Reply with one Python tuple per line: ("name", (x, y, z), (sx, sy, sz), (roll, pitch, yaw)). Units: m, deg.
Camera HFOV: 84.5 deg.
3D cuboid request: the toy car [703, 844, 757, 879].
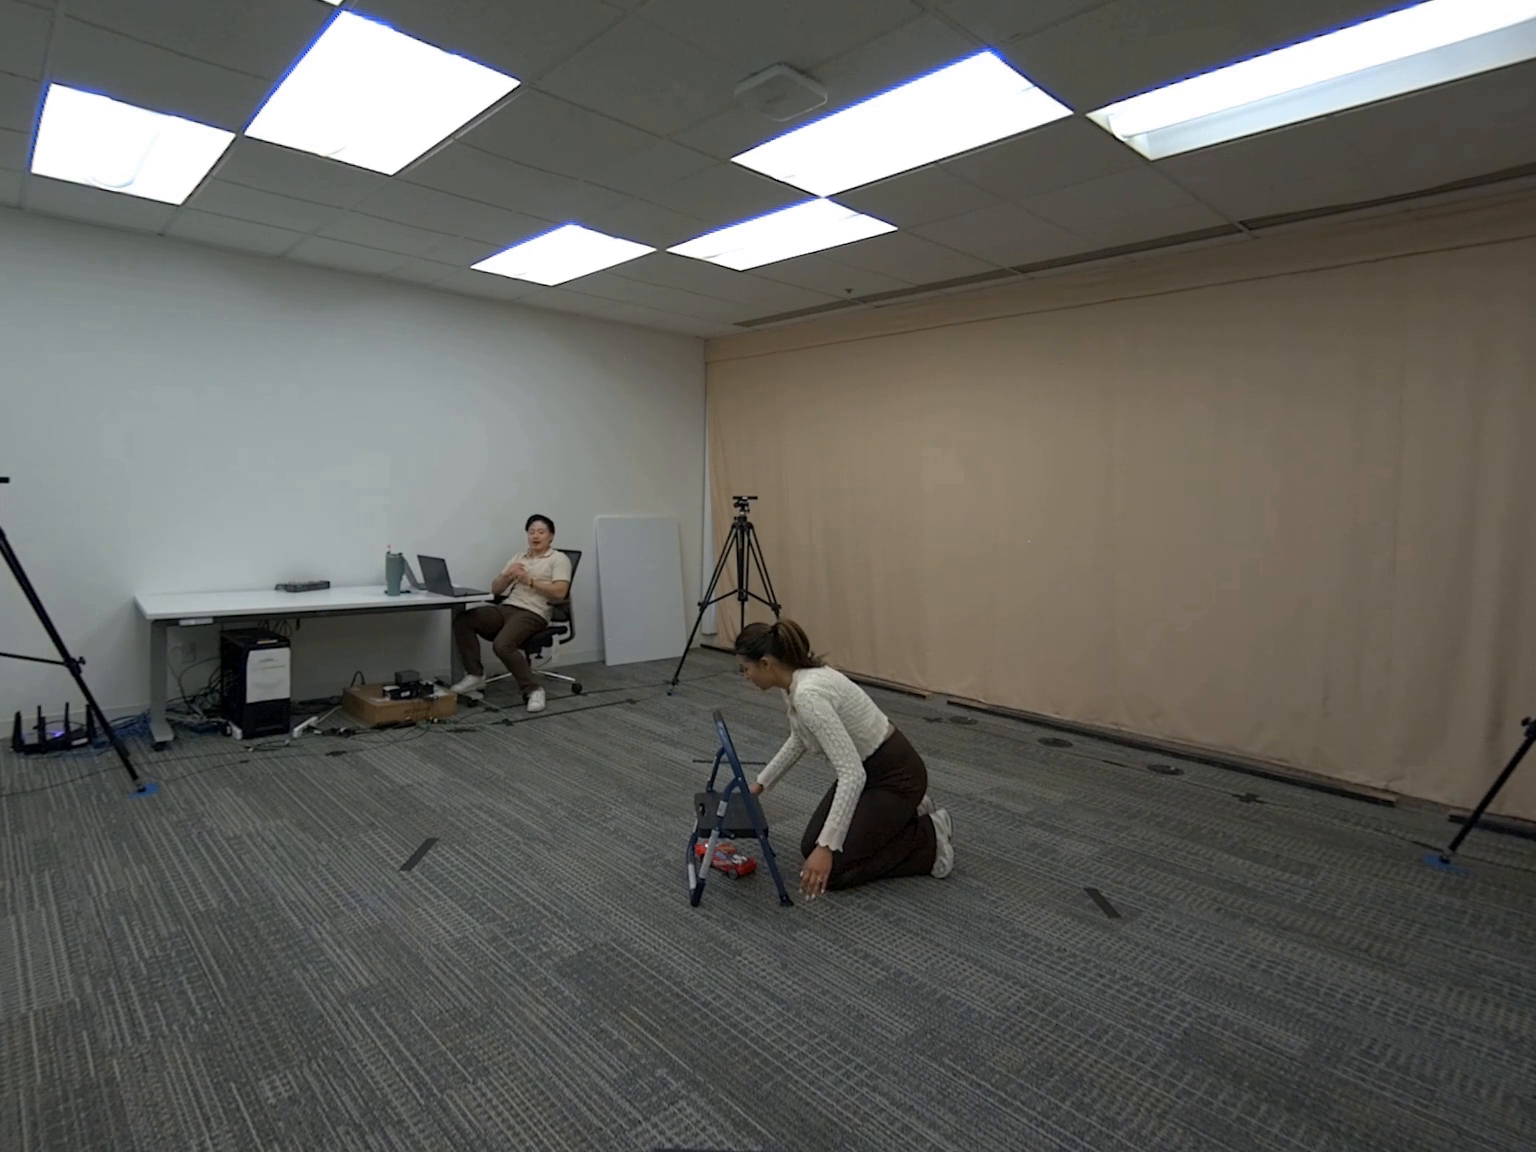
("toy car", (-0.169, 1.057, 3.171), (0.262, 0.083, 0.127), (19, 14, 37))
